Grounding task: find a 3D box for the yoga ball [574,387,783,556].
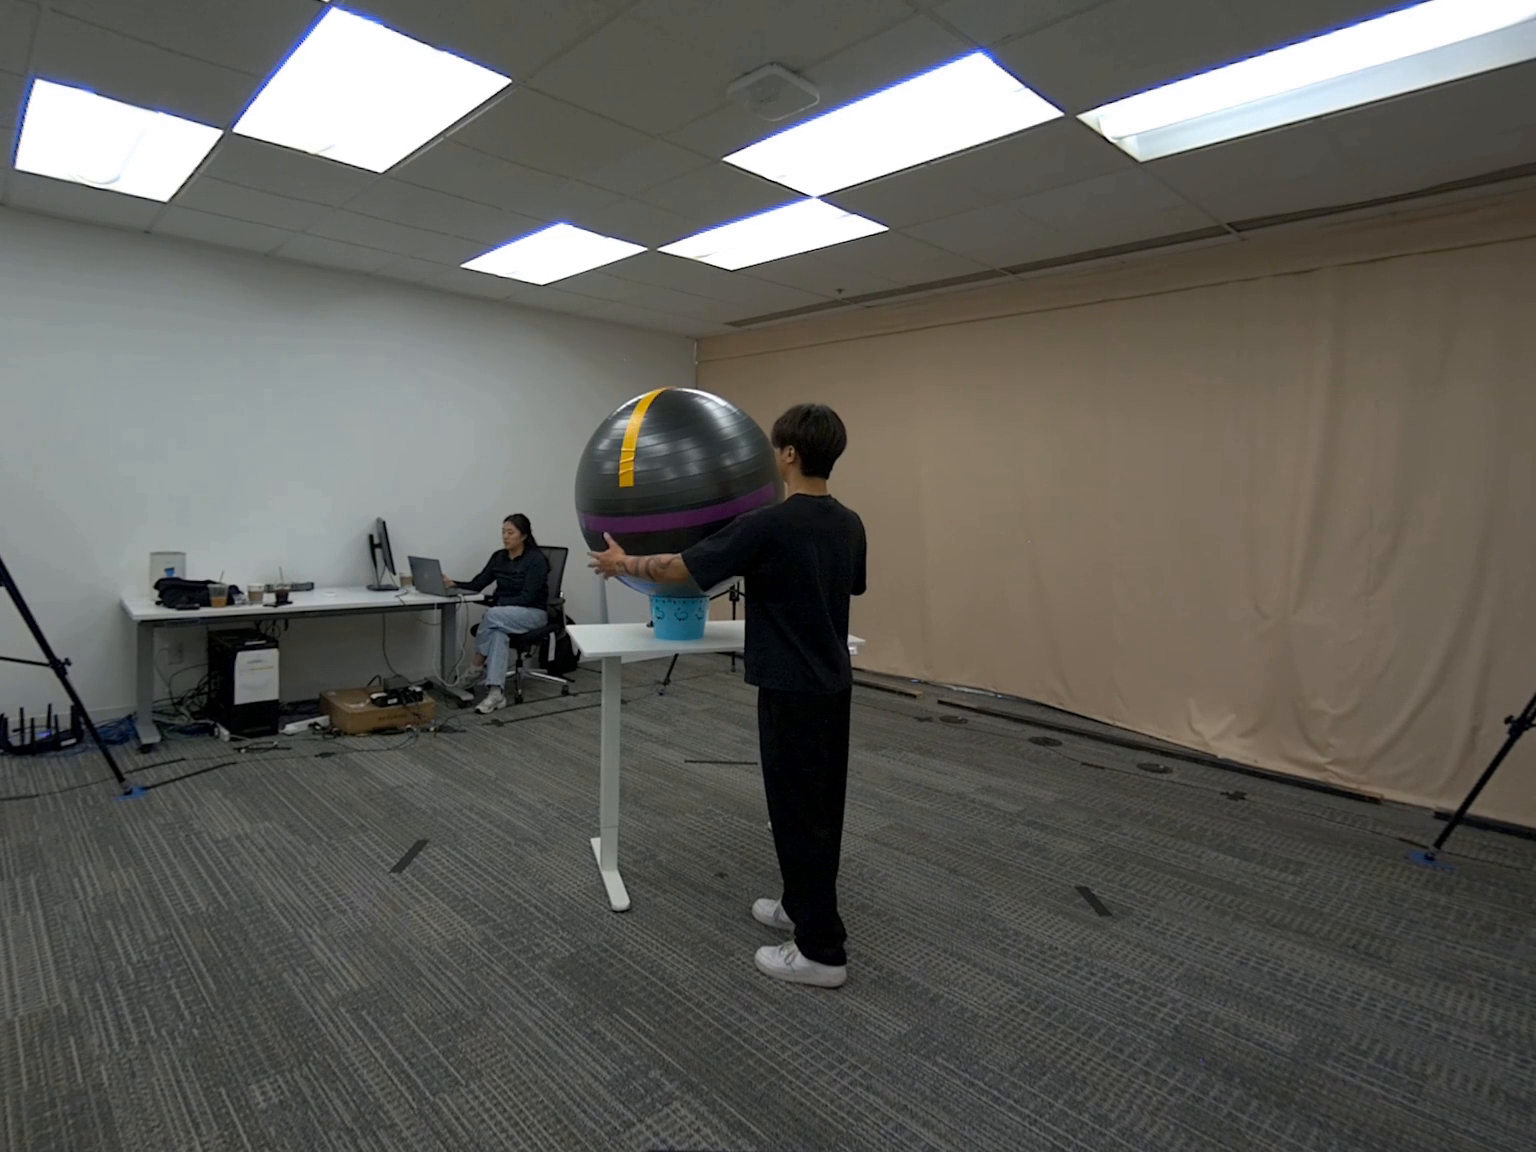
[{"bbox_3d":[-0.324,-0.295,3.053,0.757,0.756,0.761,1,4,-1],"label":"yoga ball"}]
